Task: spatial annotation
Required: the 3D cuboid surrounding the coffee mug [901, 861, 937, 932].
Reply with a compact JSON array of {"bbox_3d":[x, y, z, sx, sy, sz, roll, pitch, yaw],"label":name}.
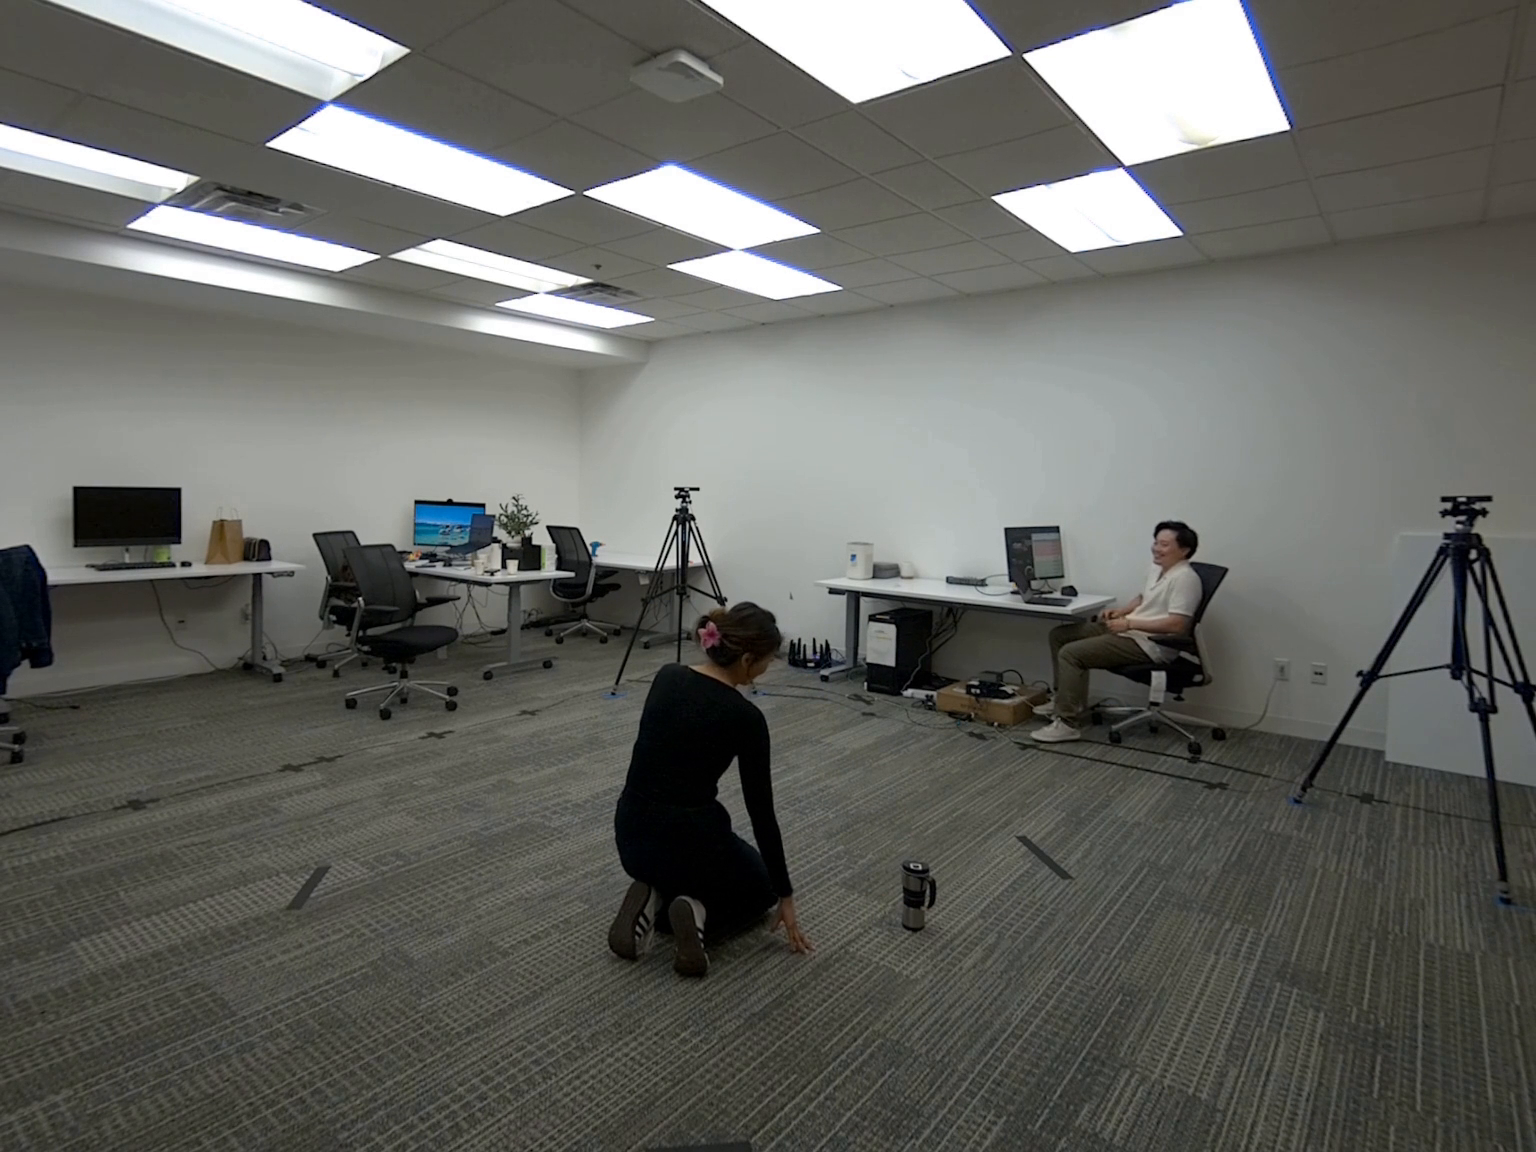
[{"bbox_3d":[0.468,1.027,2.697,0.086,0.203,0.124,3,1,-16],"label":"coffee mug"}]
